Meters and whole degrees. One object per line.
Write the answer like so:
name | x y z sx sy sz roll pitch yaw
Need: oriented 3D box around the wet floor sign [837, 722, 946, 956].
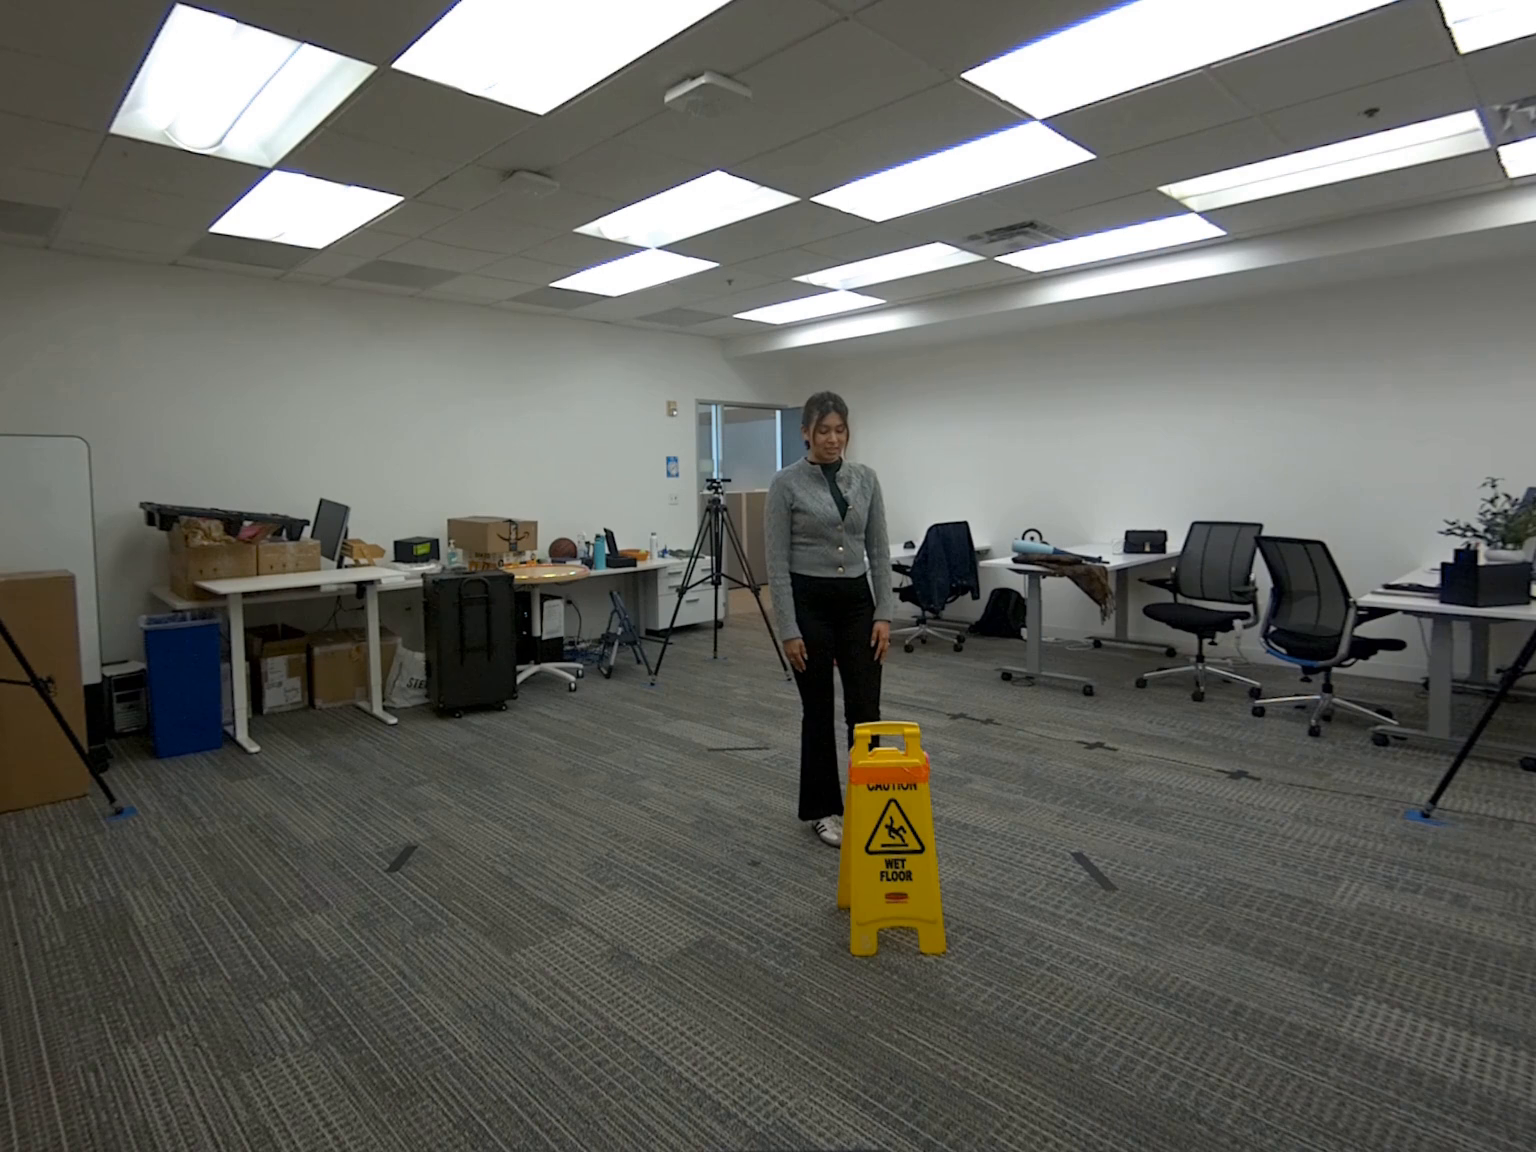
wet floor sign | 0.357 0.770 2.616 0.282 0.643 0.292 -3 5 -3
